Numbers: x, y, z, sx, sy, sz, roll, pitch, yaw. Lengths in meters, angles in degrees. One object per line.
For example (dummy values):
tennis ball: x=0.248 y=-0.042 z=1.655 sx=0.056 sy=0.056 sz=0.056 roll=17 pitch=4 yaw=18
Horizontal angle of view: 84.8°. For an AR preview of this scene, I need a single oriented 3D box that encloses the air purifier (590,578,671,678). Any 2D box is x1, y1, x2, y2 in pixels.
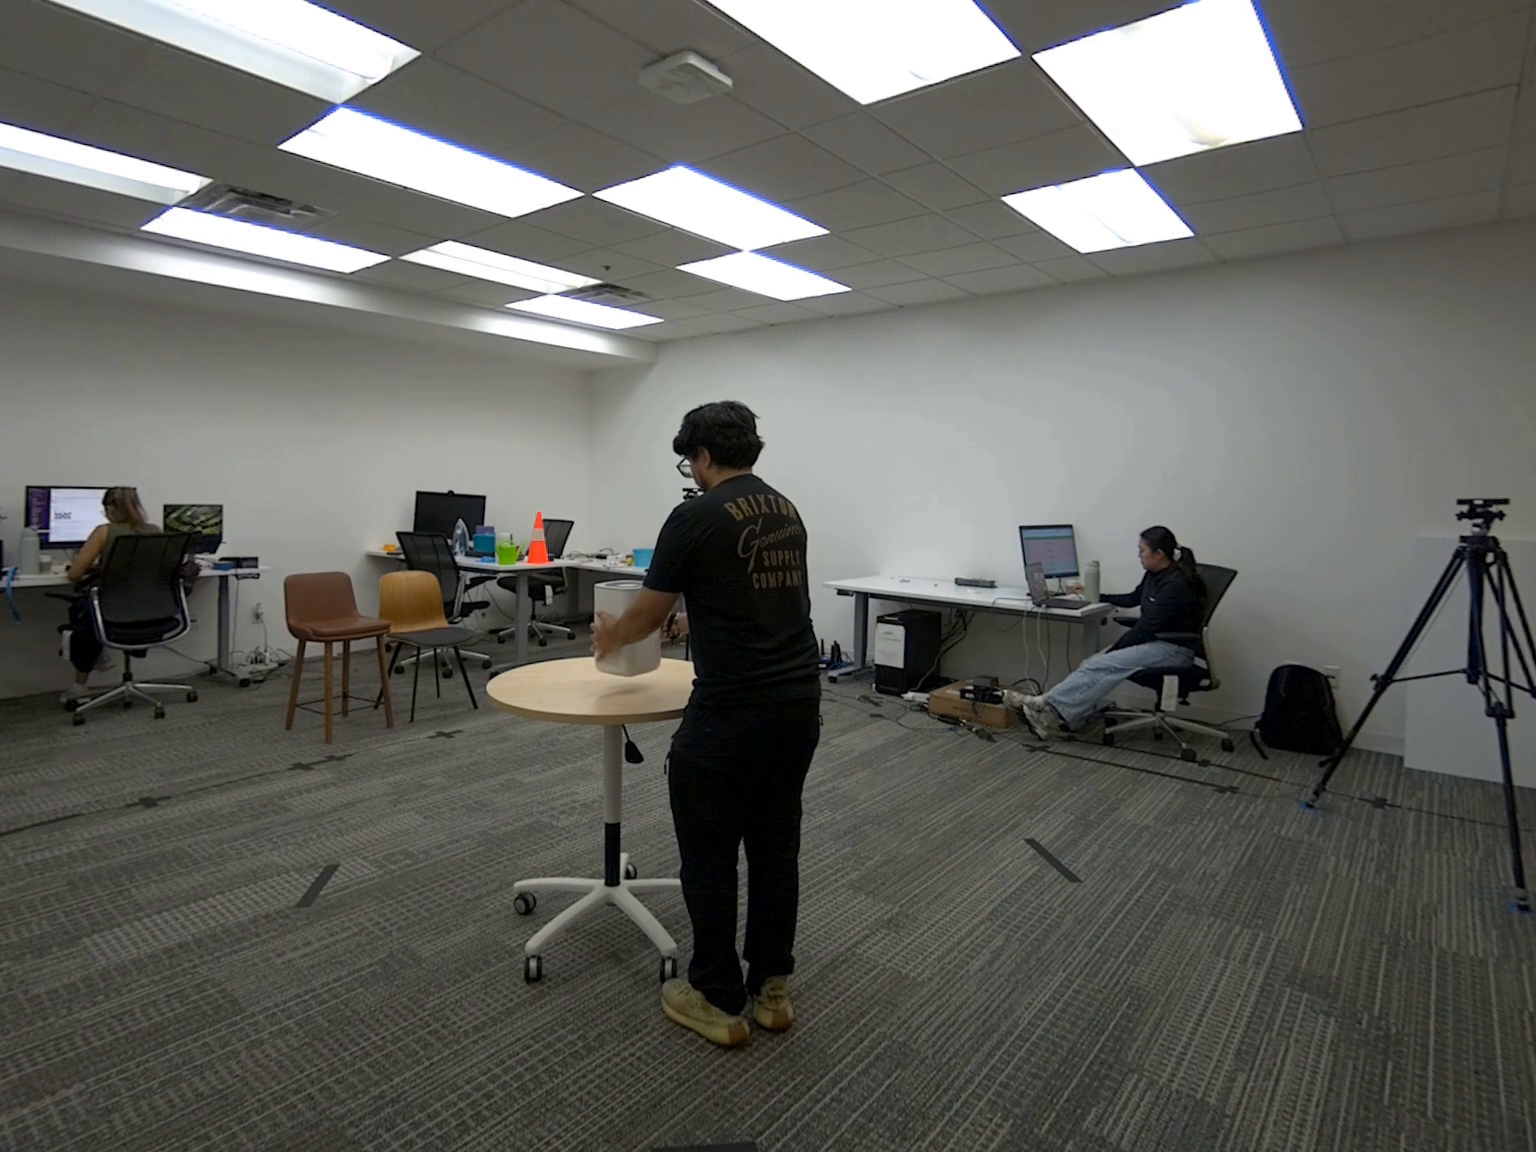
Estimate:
air purifier: x=-0.421 y=0.150 z=2.569 sx=0.179 sy=0.261 sz=0.164 roll=3 pitch=6 yaw=33
